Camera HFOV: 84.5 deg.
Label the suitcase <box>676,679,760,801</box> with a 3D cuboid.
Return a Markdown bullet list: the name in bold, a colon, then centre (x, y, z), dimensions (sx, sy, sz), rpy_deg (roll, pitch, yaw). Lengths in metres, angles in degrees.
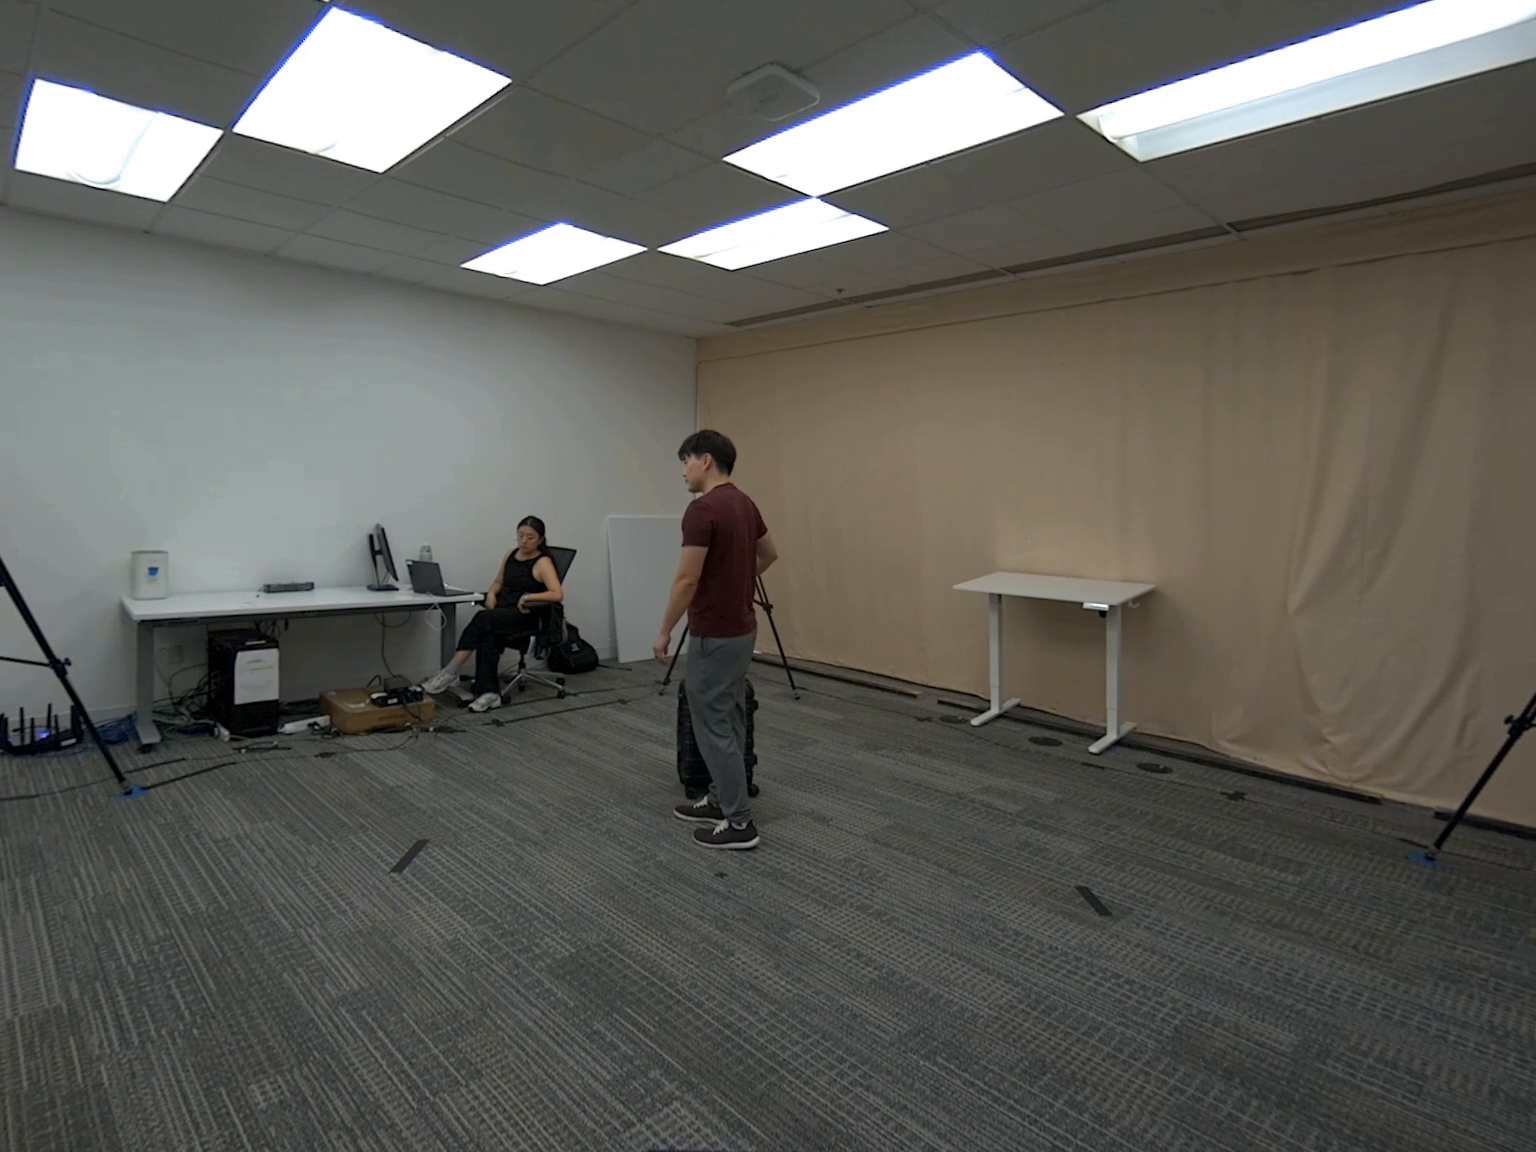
- **suitcase**: centre (-0.261, 0.547, 4.019), dimensions (0.381, 0.978, 0.259), rpy_deg (0, 1, -9)
